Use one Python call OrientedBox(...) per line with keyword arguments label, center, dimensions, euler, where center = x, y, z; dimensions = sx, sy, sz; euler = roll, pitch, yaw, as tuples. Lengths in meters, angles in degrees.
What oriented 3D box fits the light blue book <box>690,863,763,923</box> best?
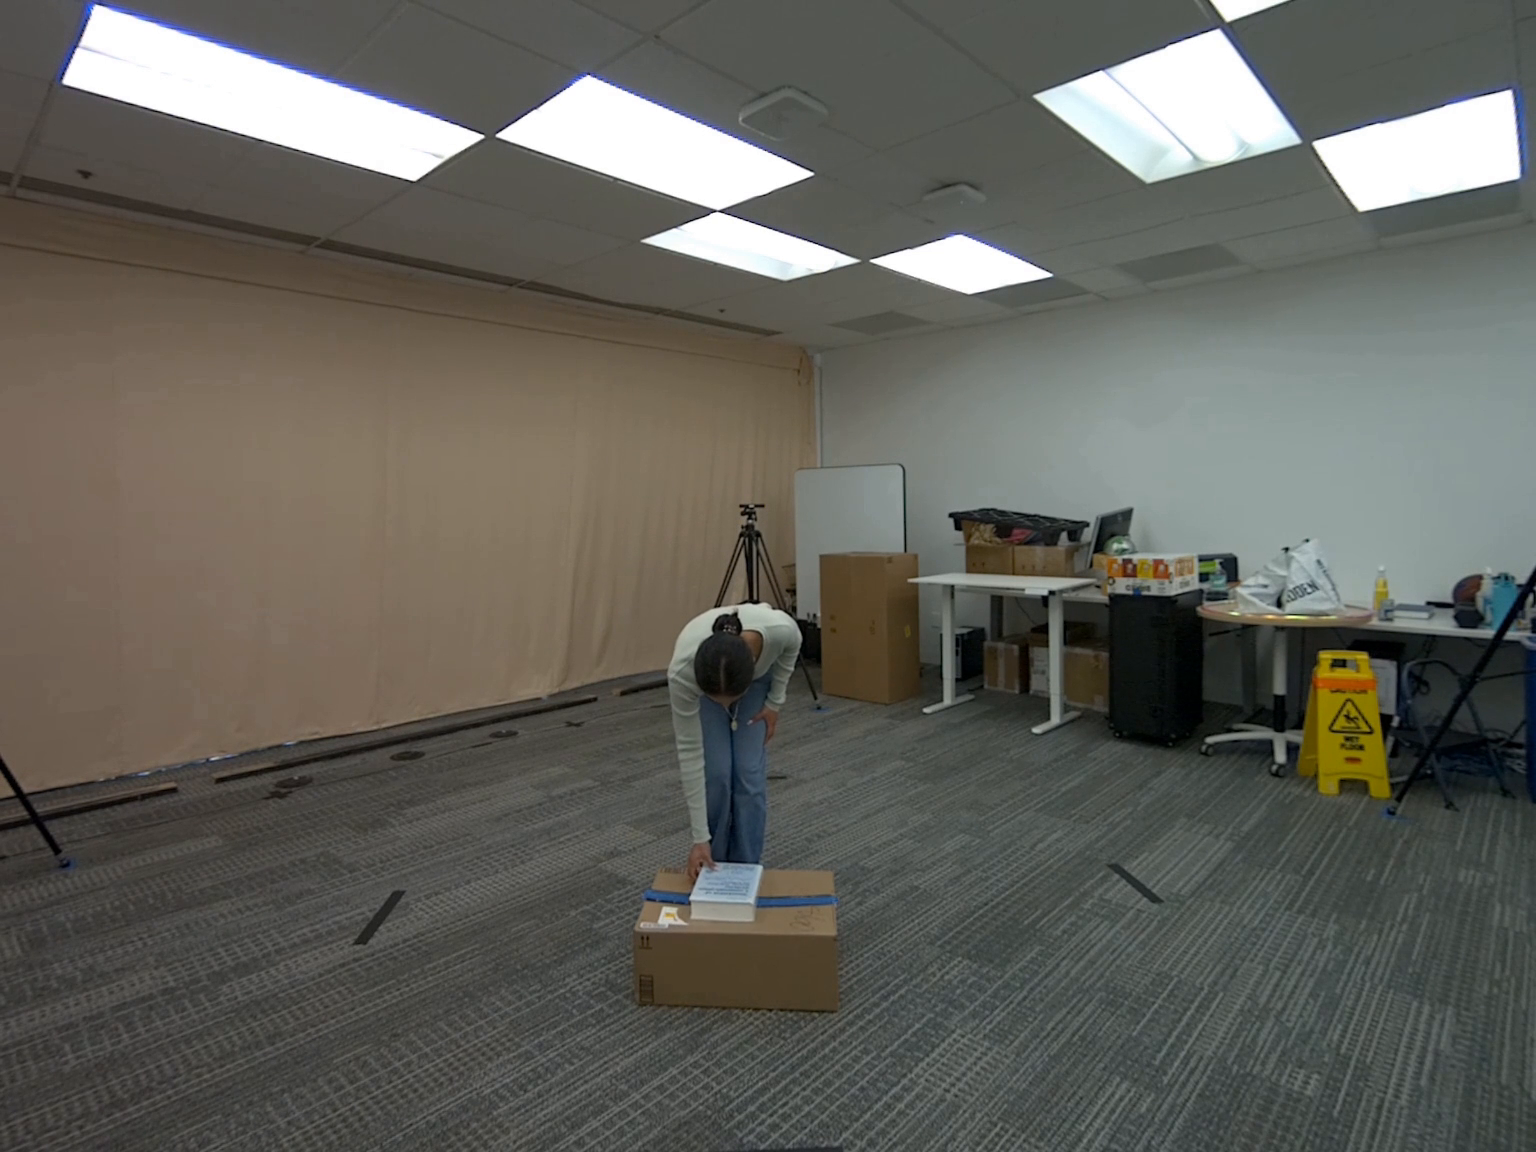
OrientedBox(label="light blue book", center=(-0.118, 0.938, 2.531), dimensions=(0.193, 0.059, 0.260), euler=(-1, 5, 6))
